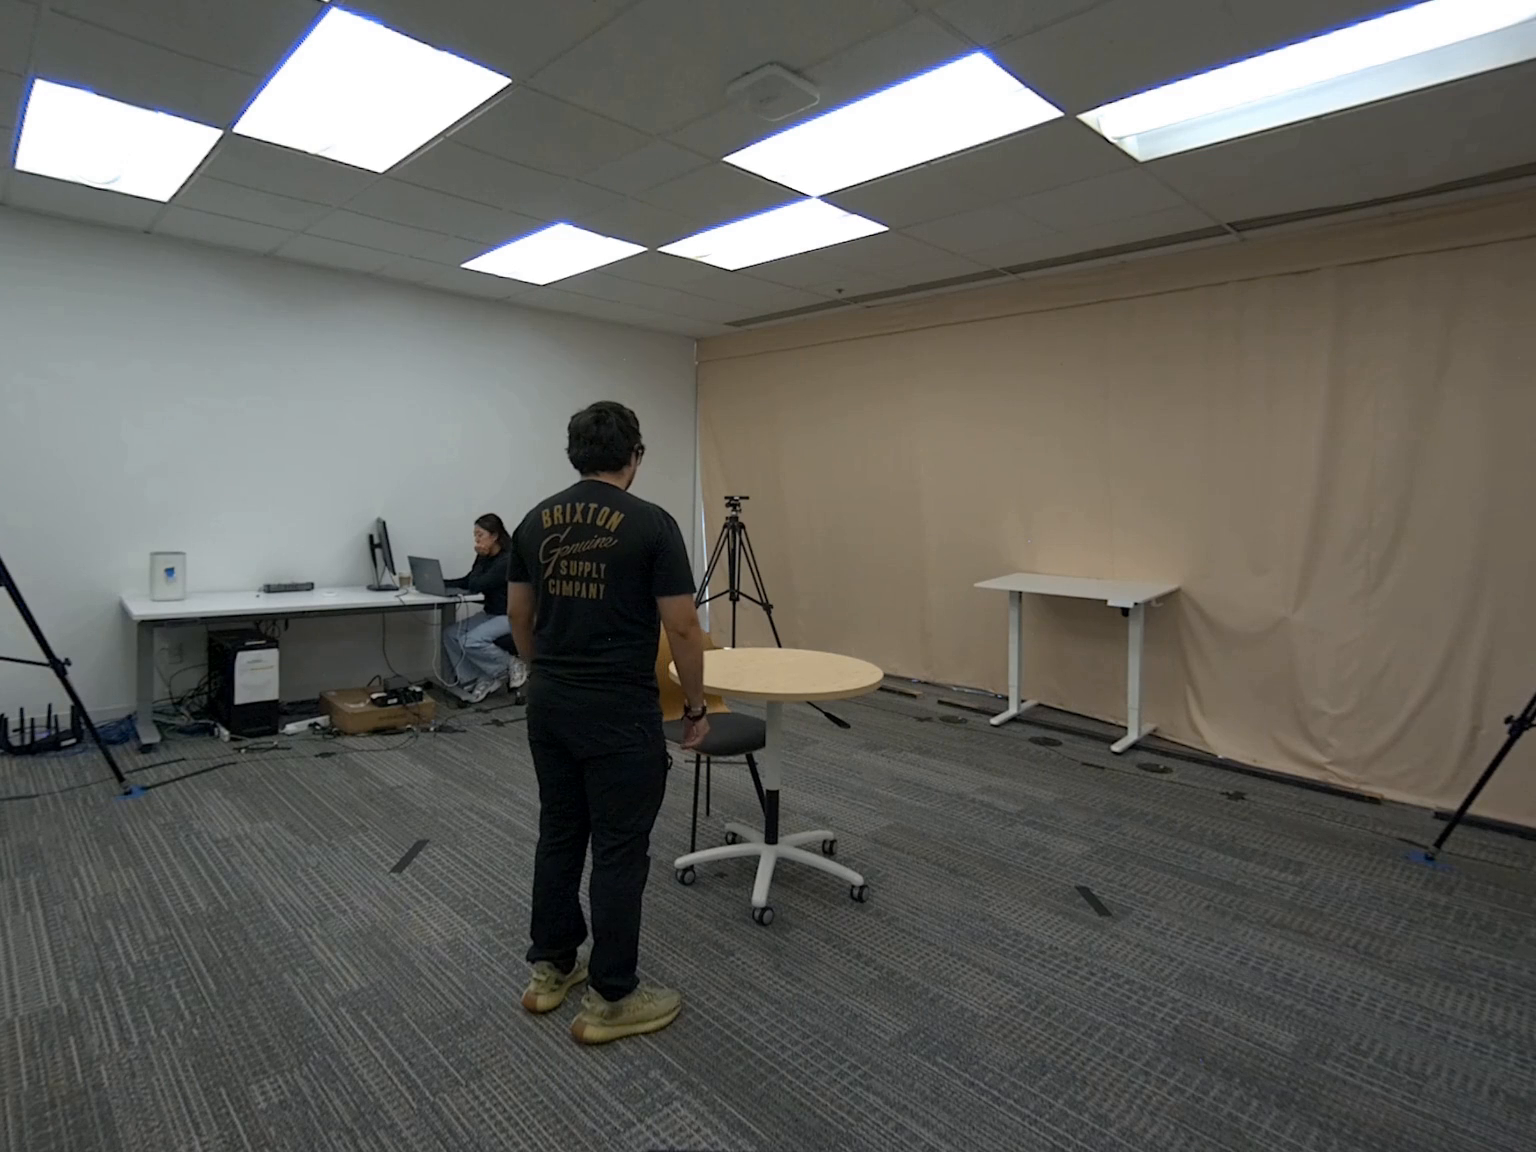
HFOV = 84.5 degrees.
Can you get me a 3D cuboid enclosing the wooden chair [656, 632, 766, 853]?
[{"bbox_3d":[-0.260,0.645,3.334,0.467,0.878,0.535,-1,0,-42],"label":"wooden chair"}]
